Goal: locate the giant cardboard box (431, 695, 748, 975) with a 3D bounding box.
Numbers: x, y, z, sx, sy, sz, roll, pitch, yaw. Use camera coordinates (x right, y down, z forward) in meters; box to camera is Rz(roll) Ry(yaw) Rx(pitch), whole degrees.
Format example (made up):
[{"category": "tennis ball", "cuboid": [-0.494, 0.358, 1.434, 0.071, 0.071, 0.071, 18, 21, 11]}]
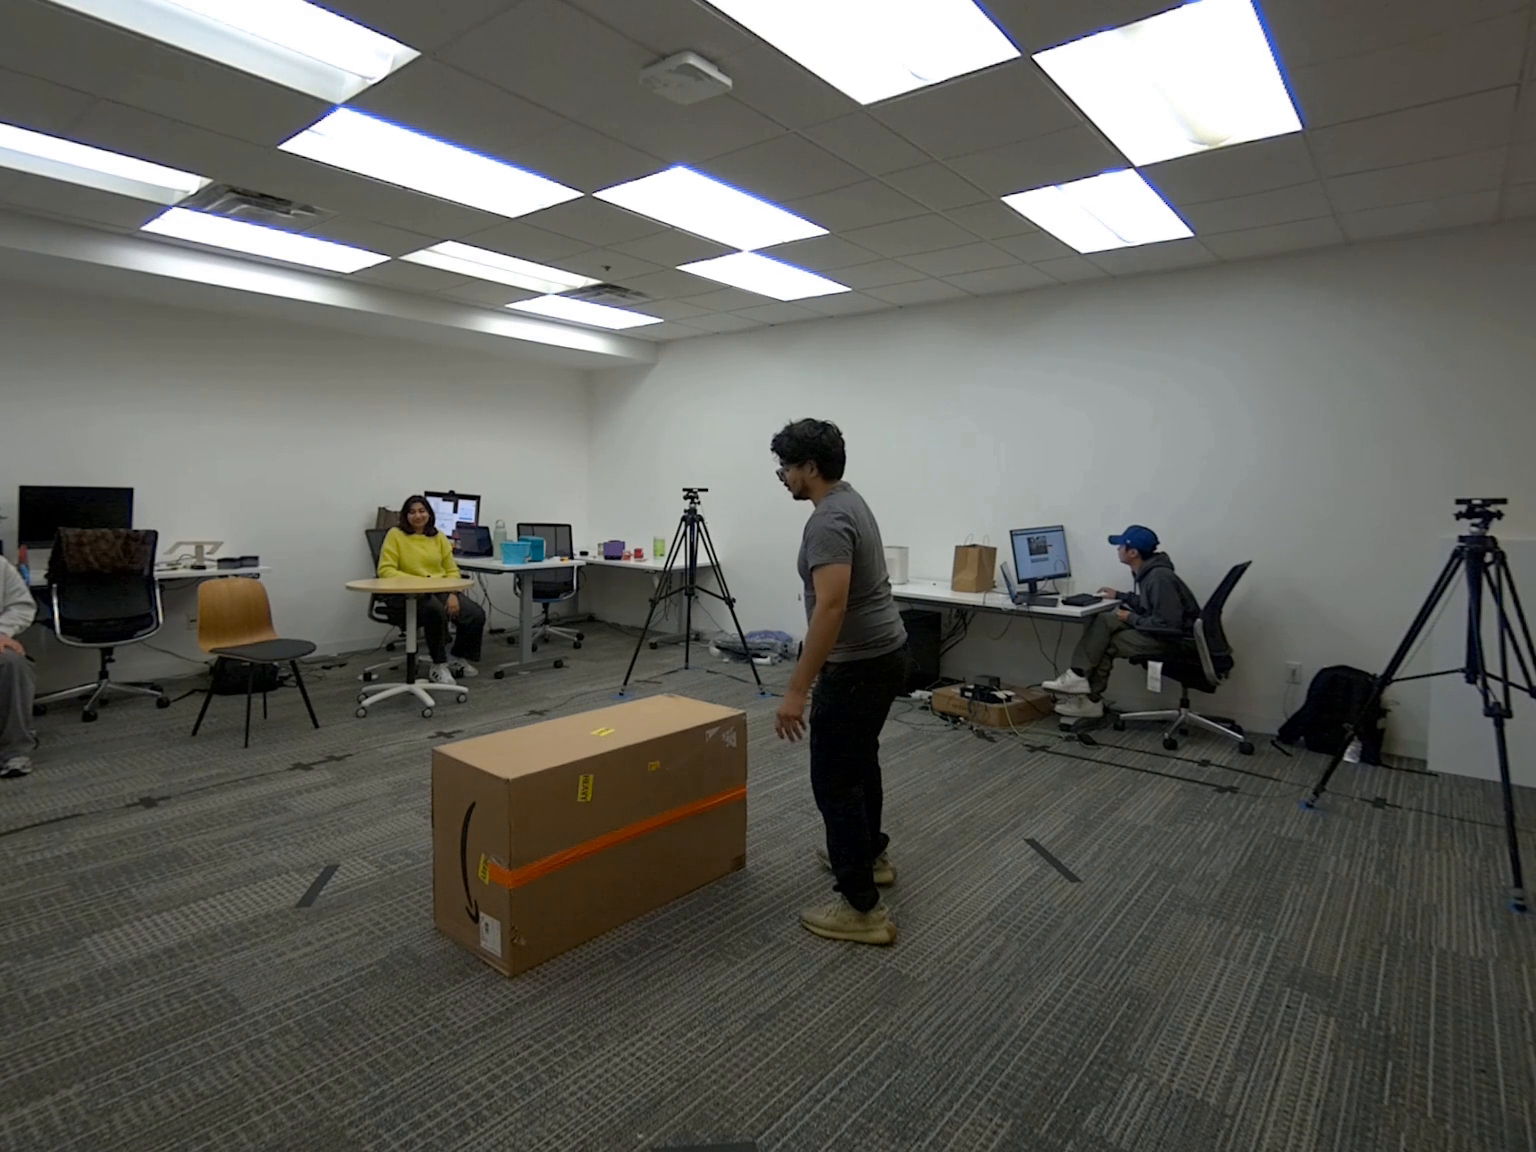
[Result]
[{"category": "giant cardboard box", "cuboid": [-0.575, 0.801, 2.891, 0.440, 0.575, 0.995, 4, 6, 42]}]
